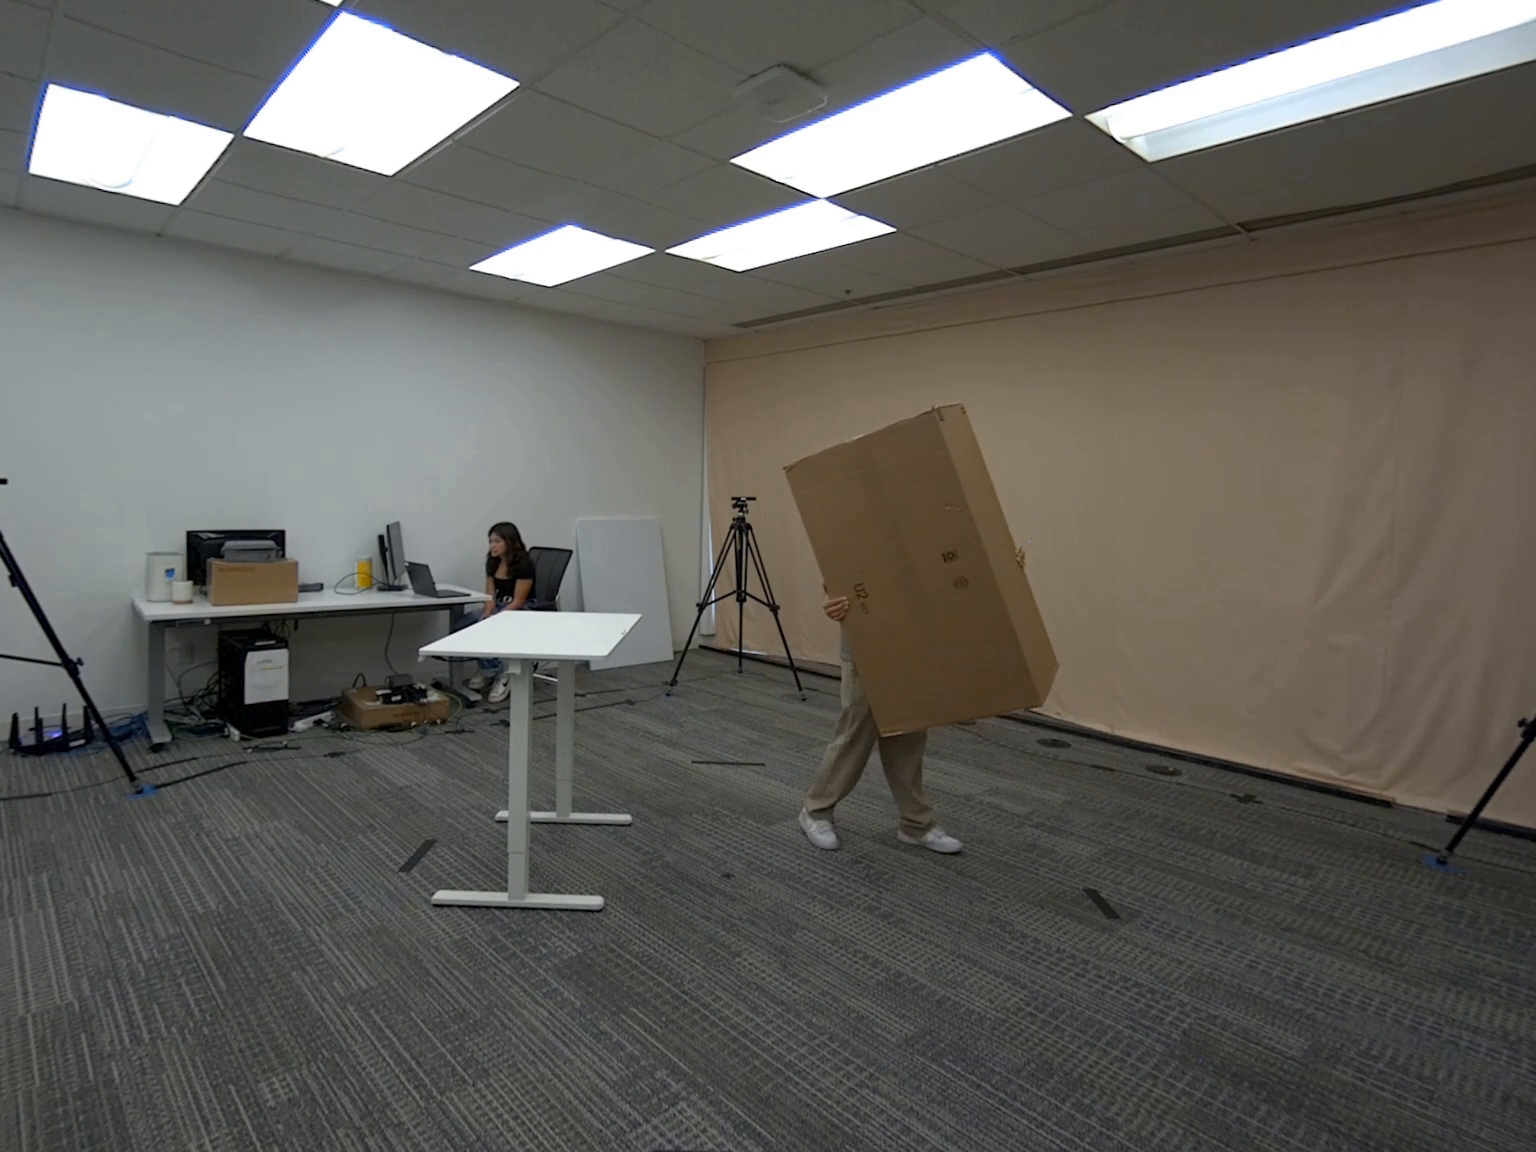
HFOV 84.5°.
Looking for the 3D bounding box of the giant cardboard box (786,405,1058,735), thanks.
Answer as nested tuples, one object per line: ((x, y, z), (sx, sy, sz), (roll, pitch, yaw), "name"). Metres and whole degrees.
((0.541, -0.028, 3.005), (0.585, 1.025, 0.421), (-19, 1, 29), "giant cardboard box")
